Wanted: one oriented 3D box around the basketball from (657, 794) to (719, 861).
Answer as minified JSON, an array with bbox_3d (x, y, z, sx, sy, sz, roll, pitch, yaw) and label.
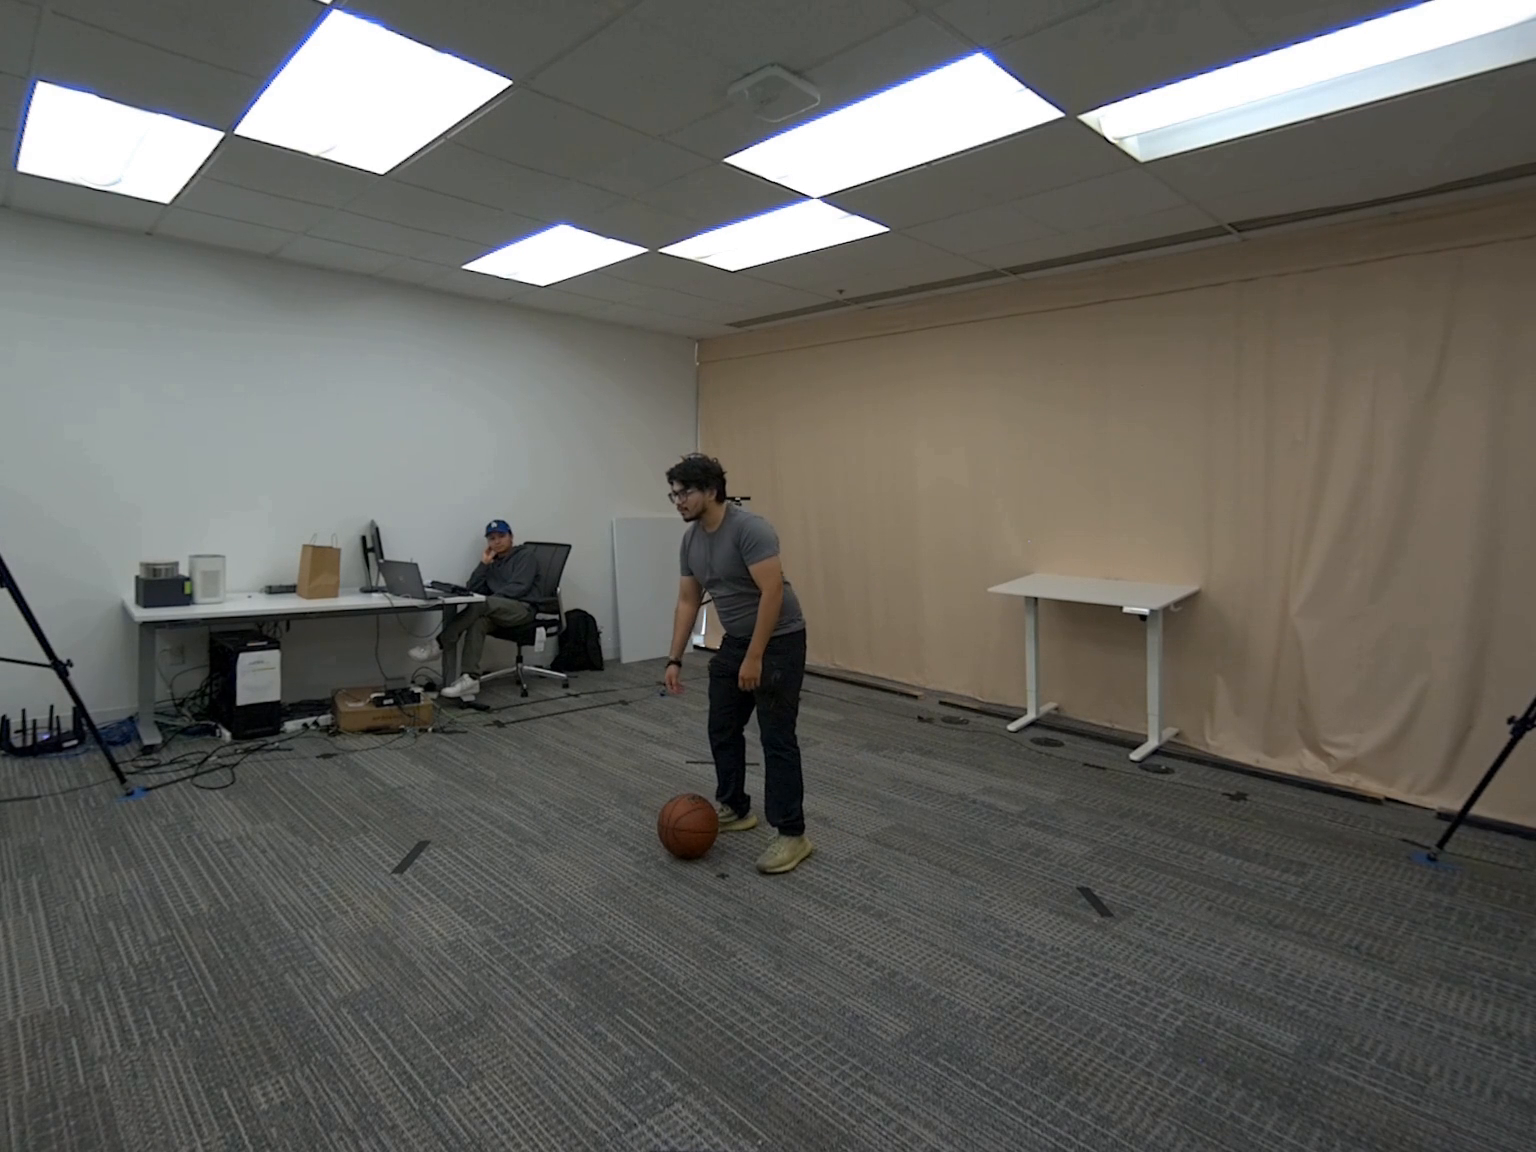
[{"bbox_3d":[-0.322,0.969,3.261,0.236,0.235,0.237,1,4,-1],"label":"basketball"}]
